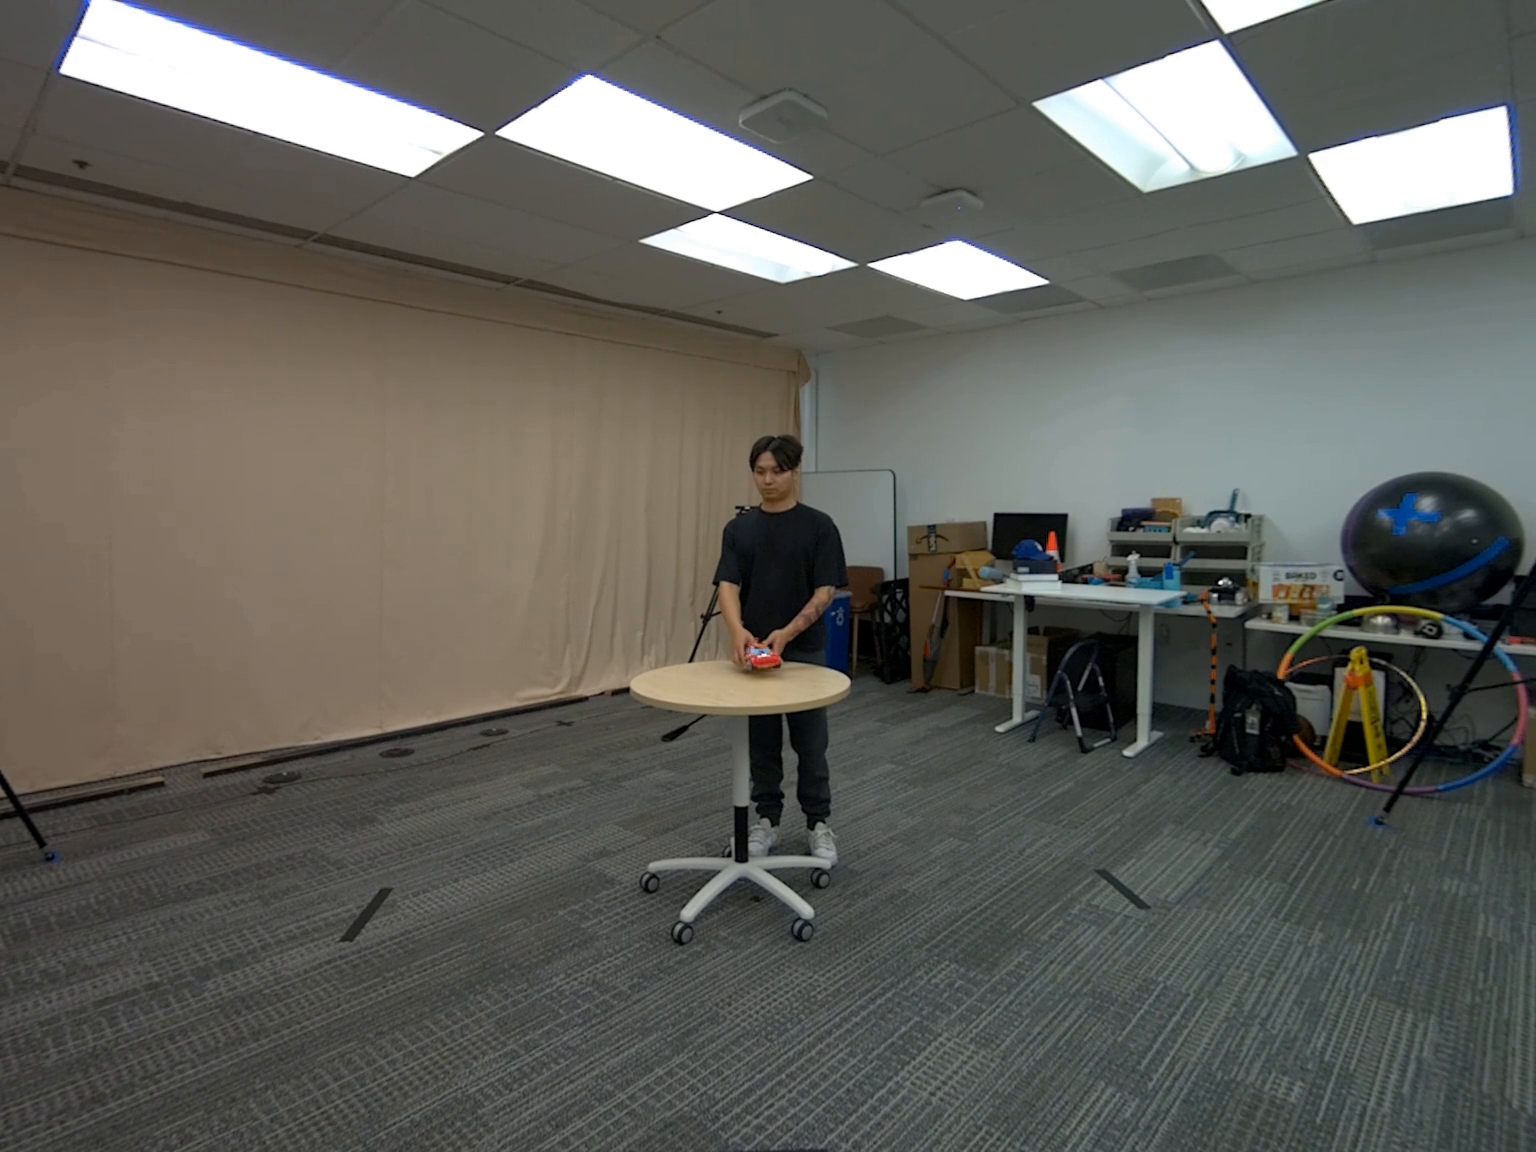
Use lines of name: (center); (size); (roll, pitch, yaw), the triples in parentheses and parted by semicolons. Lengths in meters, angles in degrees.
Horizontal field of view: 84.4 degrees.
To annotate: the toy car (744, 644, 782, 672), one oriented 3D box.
toy car: (-0.038, 0.292, 3.064); (0.128, 0.082, 0.260); (-5, 15, -14)
